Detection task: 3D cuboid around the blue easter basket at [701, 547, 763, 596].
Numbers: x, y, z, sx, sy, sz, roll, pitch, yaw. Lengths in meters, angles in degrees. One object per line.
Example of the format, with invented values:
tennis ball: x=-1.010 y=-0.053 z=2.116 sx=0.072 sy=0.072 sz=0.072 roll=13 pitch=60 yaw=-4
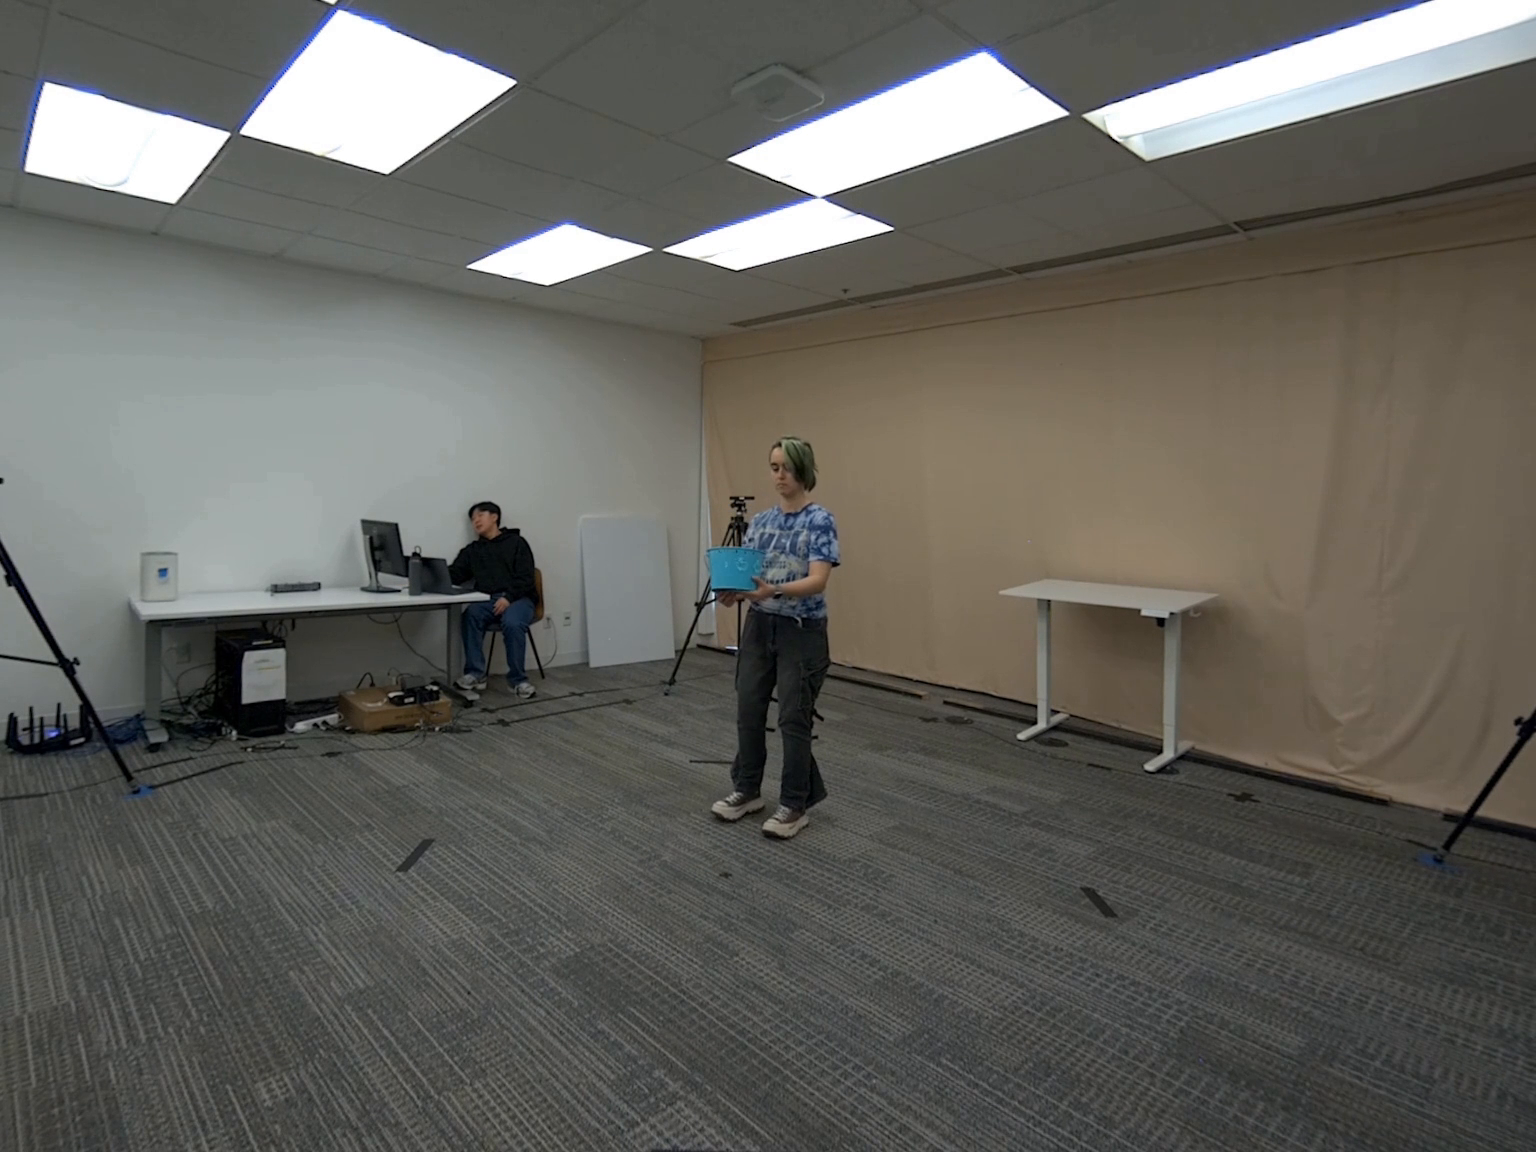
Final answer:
blue easter basket: x=-0.127 y=-0.012 z=3.237 sx=0.243 sy=0.157 sz=0.242 roll=2 pitch=-7 yaw=-1
